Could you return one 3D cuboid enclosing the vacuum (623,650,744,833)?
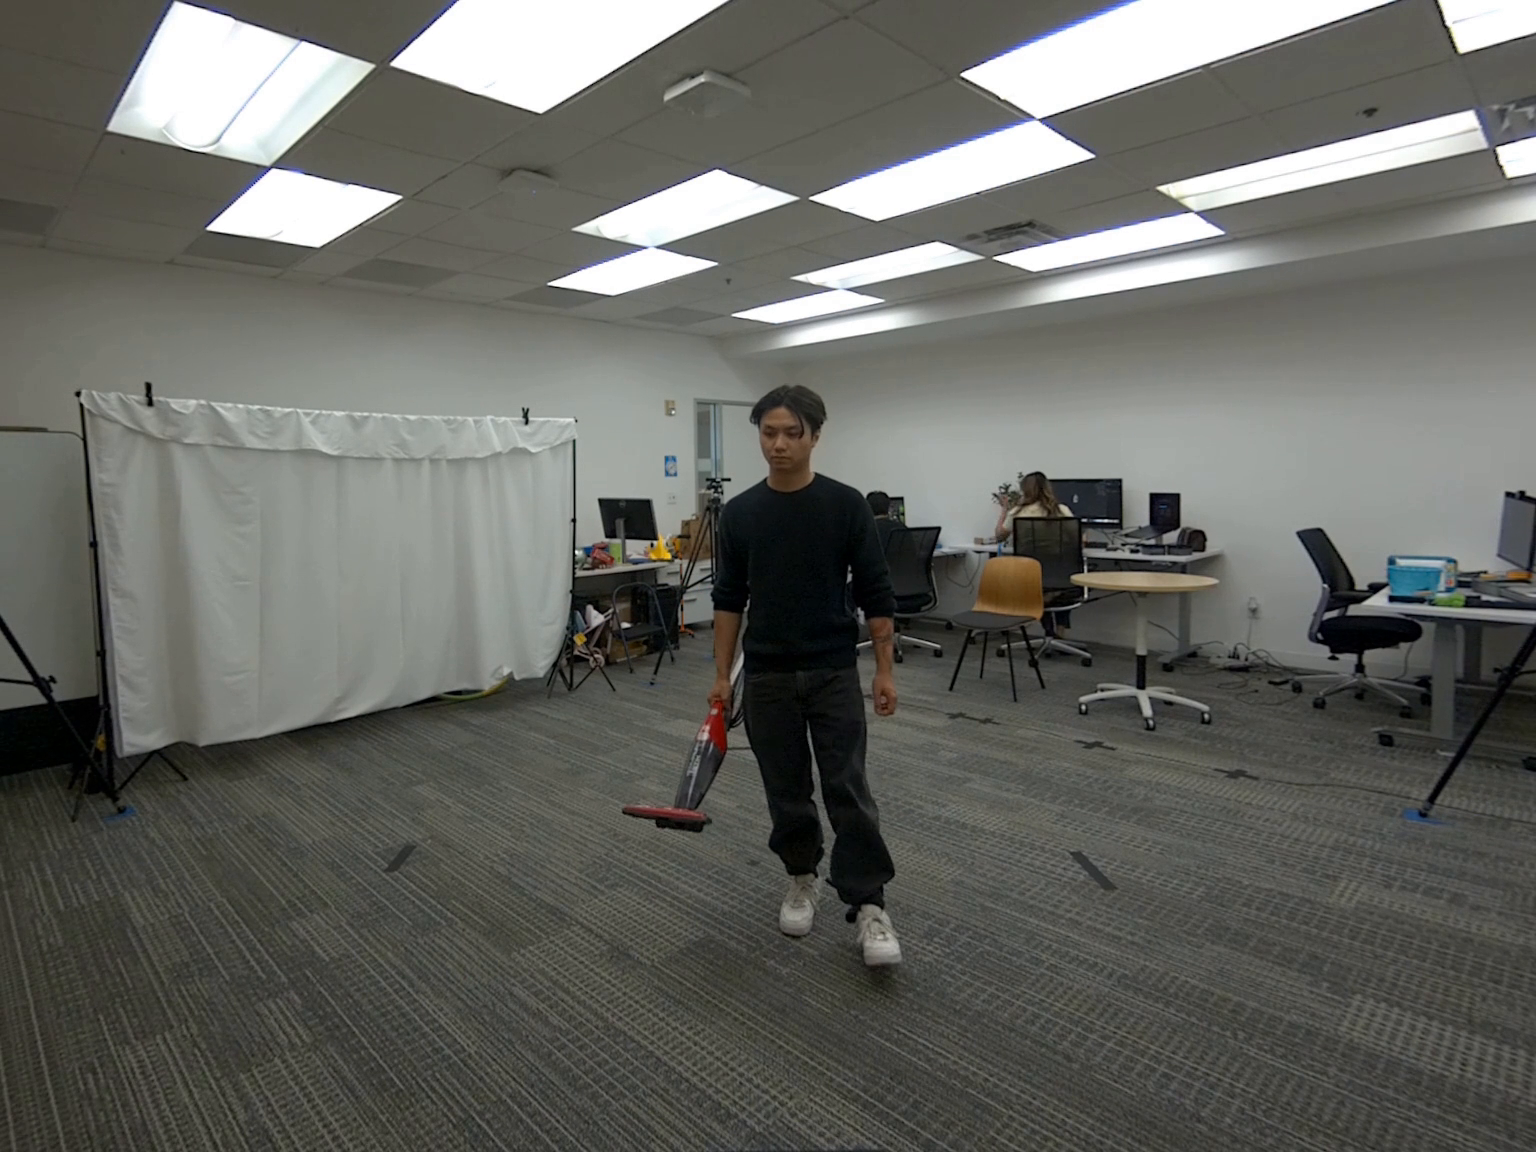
[{"bbox_3d":[-0.120,0.398,2.763,0.257,0.140,1.060,-3,33,20],"label":"vacuum"}]
